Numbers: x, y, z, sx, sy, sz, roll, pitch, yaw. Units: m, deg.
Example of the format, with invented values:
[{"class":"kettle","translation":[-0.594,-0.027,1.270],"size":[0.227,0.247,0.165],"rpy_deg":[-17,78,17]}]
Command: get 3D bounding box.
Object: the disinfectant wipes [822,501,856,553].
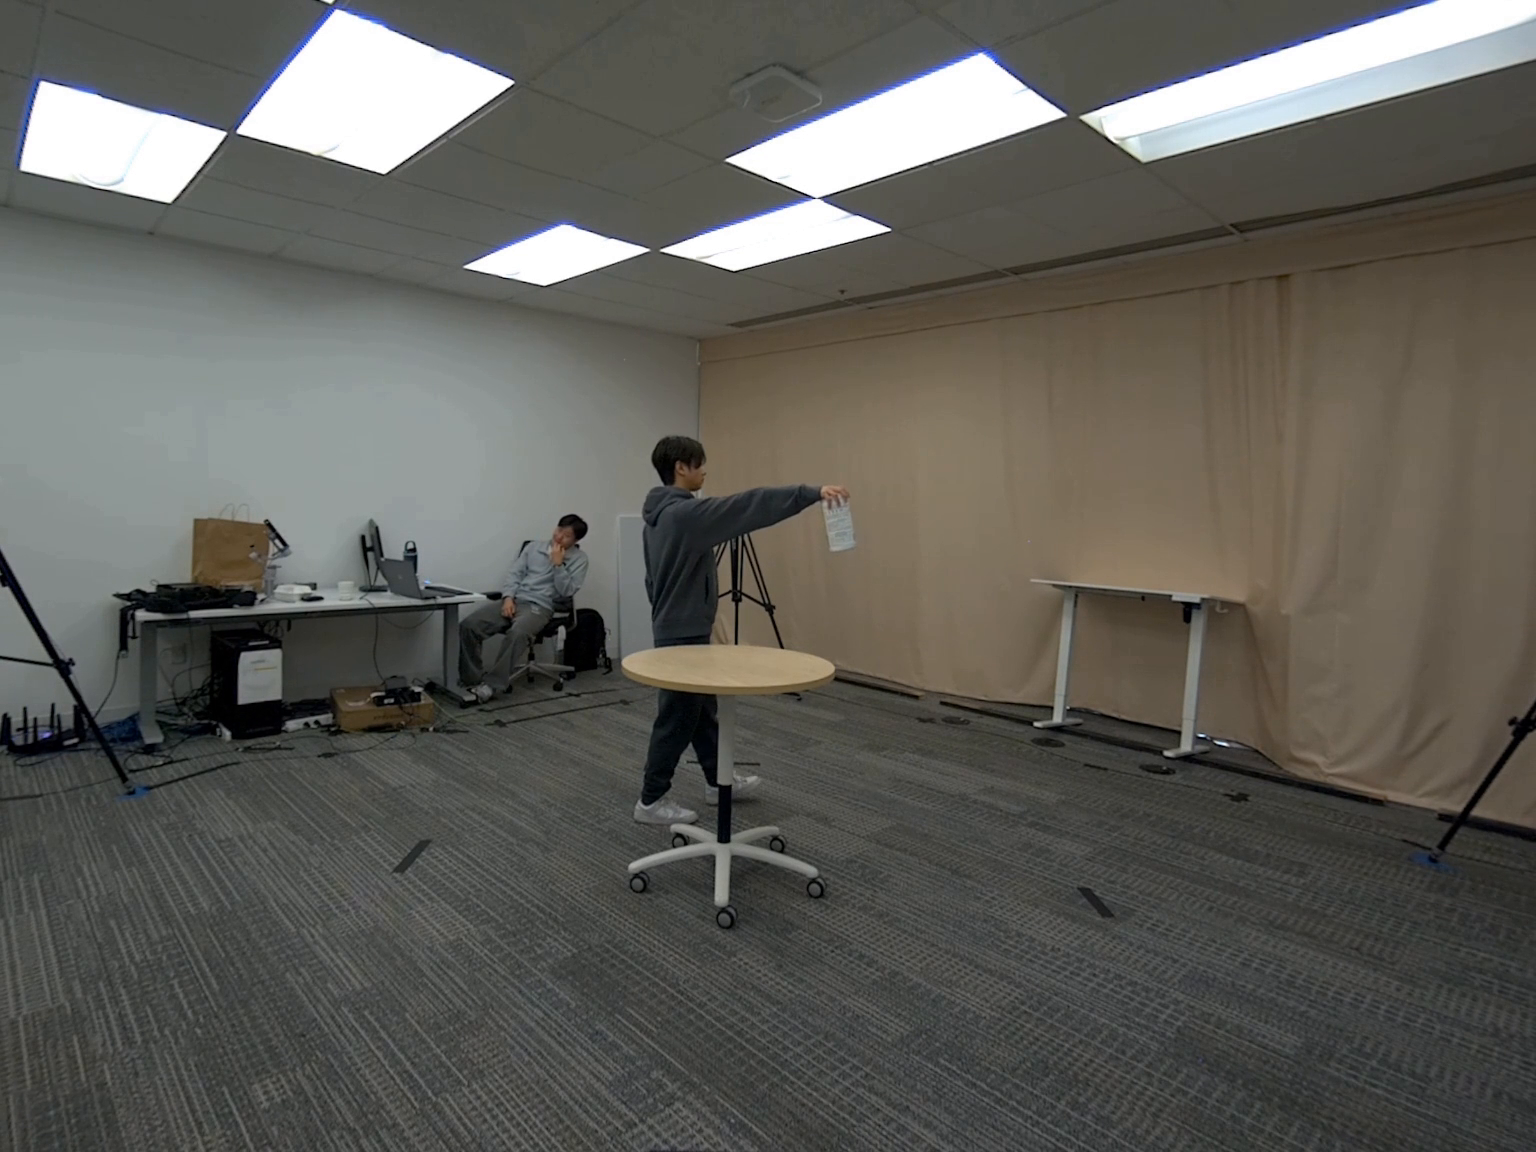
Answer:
[{"class":"disinfectant wipes","translation":[0.281,-0.204,3.319],"size":[0.118,0.216,0.118],"rpy_deg":[-9,5,-1]}]
